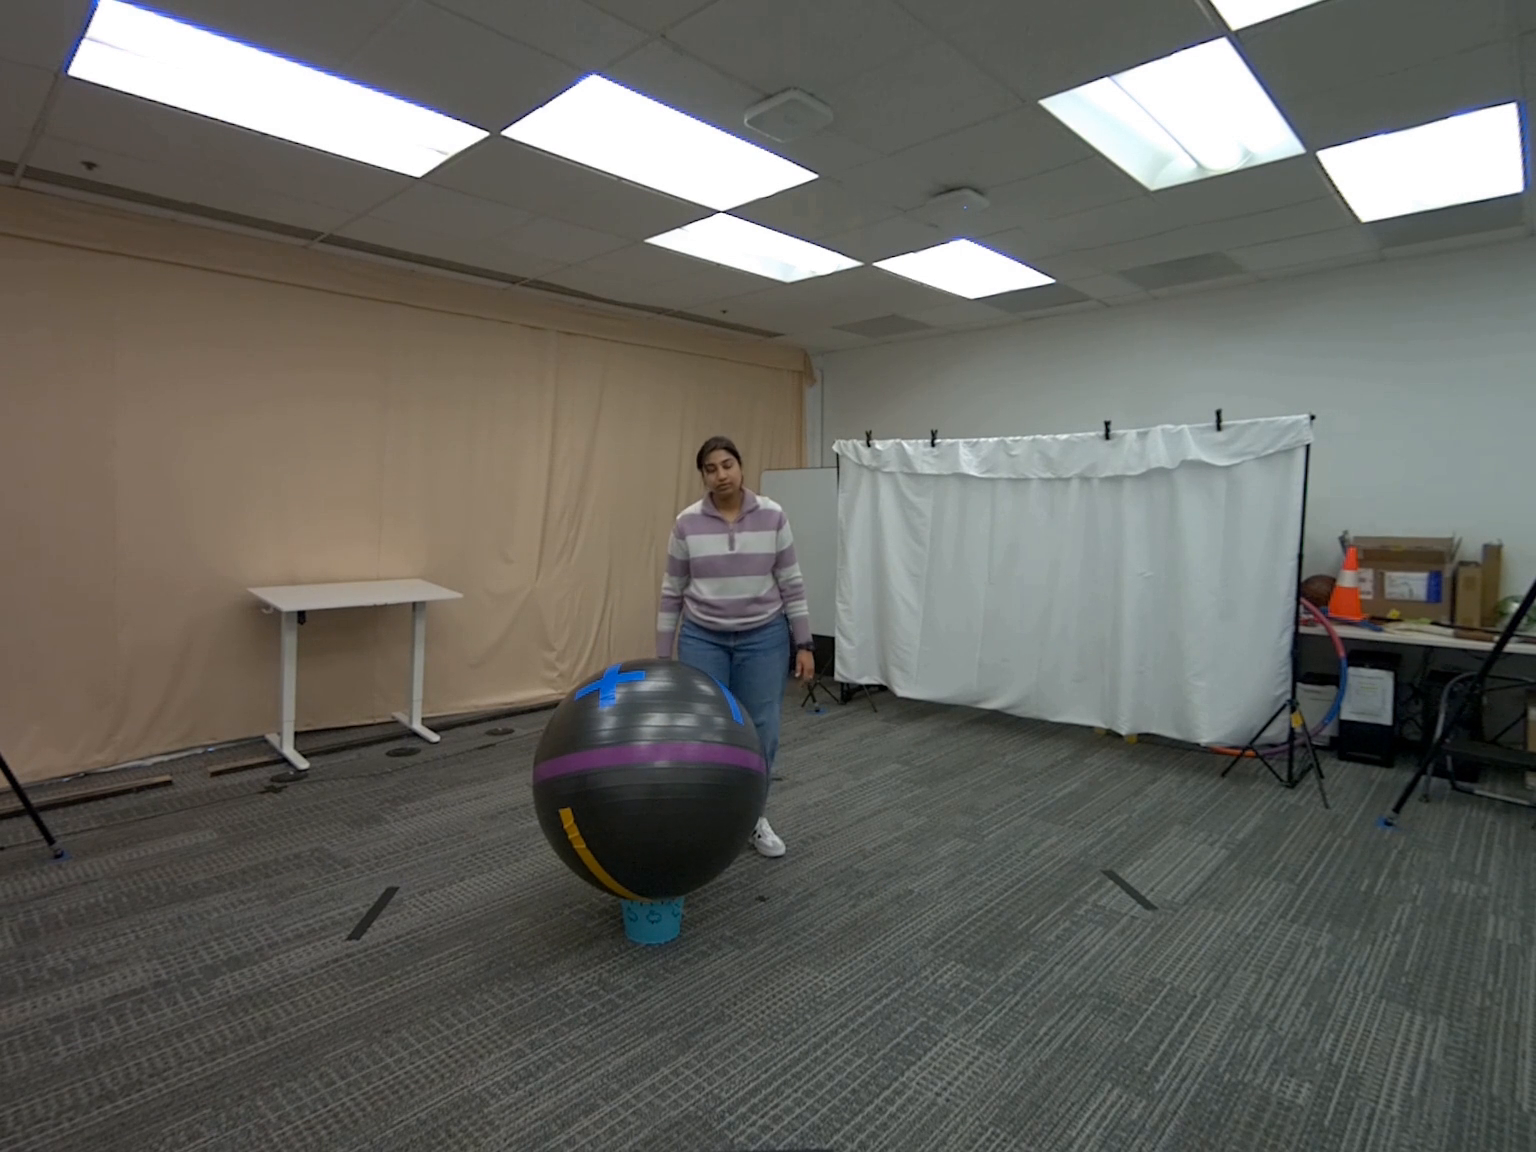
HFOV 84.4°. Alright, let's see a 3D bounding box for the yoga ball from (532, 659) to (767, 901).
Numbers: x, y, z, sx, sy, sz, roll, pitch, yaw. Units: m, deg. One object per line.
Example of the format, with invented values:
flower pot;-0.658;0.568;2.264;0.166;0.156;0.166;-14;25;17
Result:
yoga ball;-0.400;0.660;2.758;0.757;0.756;0.760;0;4;-2
